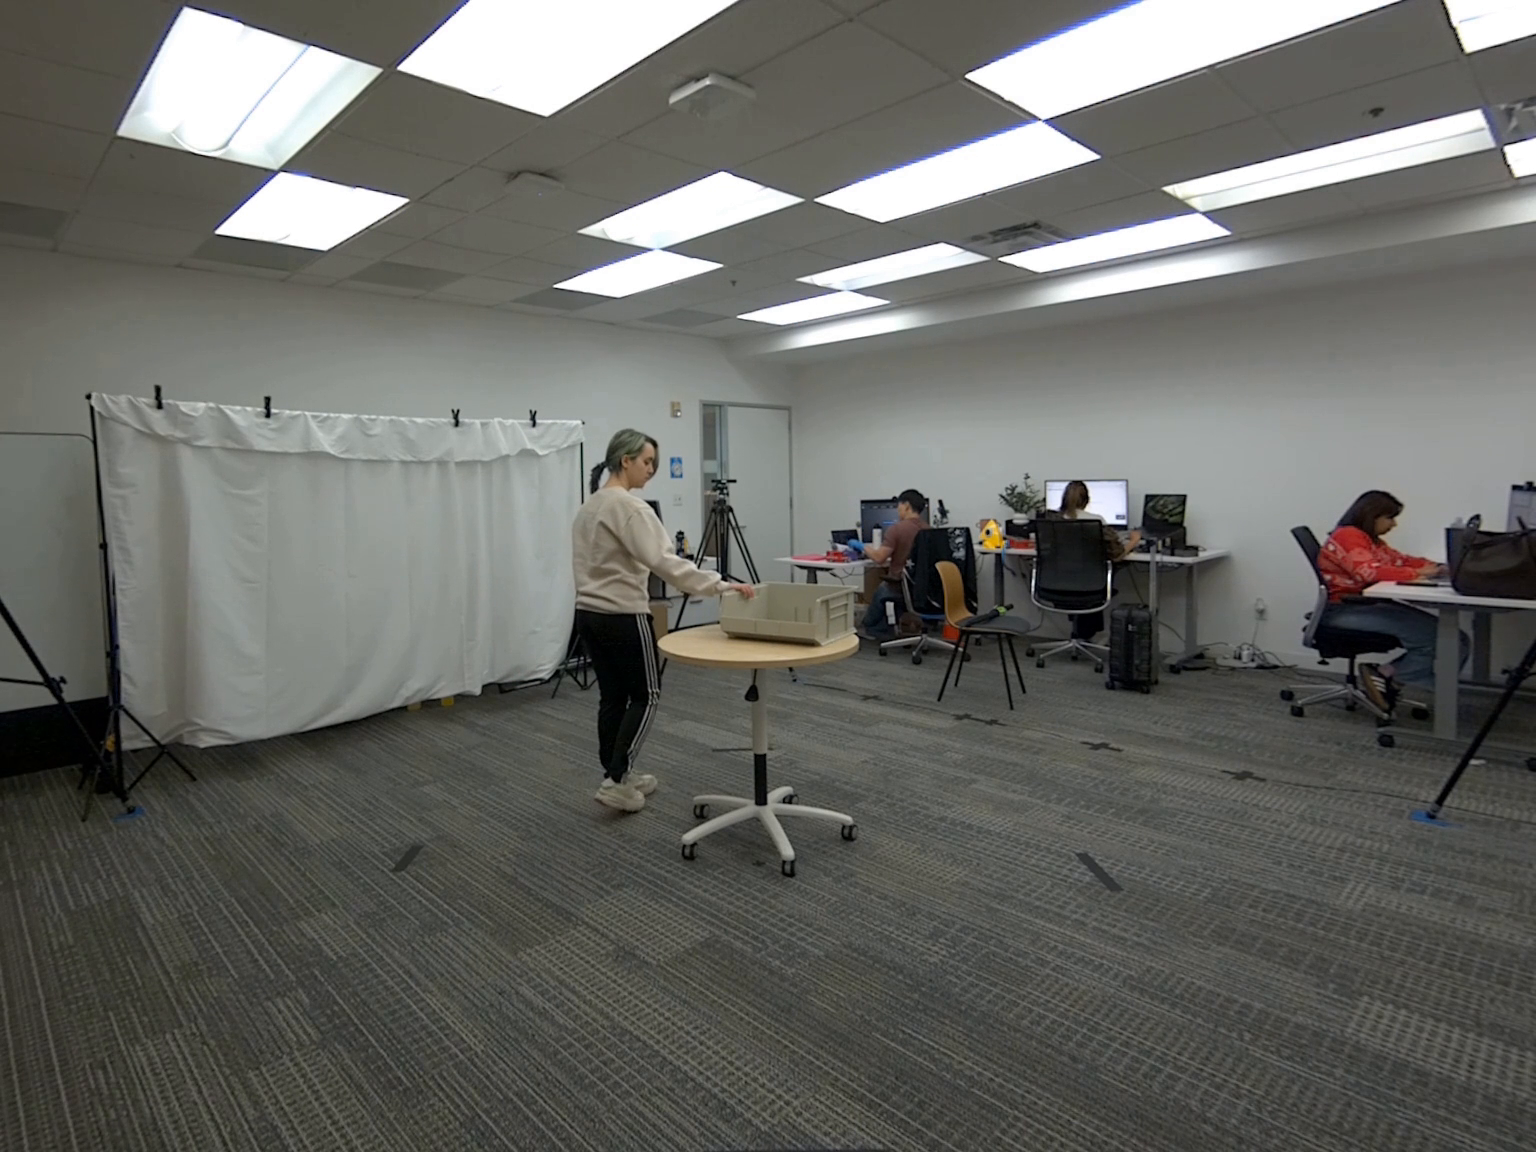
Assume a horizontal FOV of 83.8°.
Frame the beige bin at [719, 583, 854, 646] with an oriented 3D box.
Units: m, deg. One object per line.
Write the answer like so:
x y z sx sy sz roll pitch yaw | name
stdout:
0.085 0.145 3.324 0.434 0.188 0.368 2 5 32 | beige bin
